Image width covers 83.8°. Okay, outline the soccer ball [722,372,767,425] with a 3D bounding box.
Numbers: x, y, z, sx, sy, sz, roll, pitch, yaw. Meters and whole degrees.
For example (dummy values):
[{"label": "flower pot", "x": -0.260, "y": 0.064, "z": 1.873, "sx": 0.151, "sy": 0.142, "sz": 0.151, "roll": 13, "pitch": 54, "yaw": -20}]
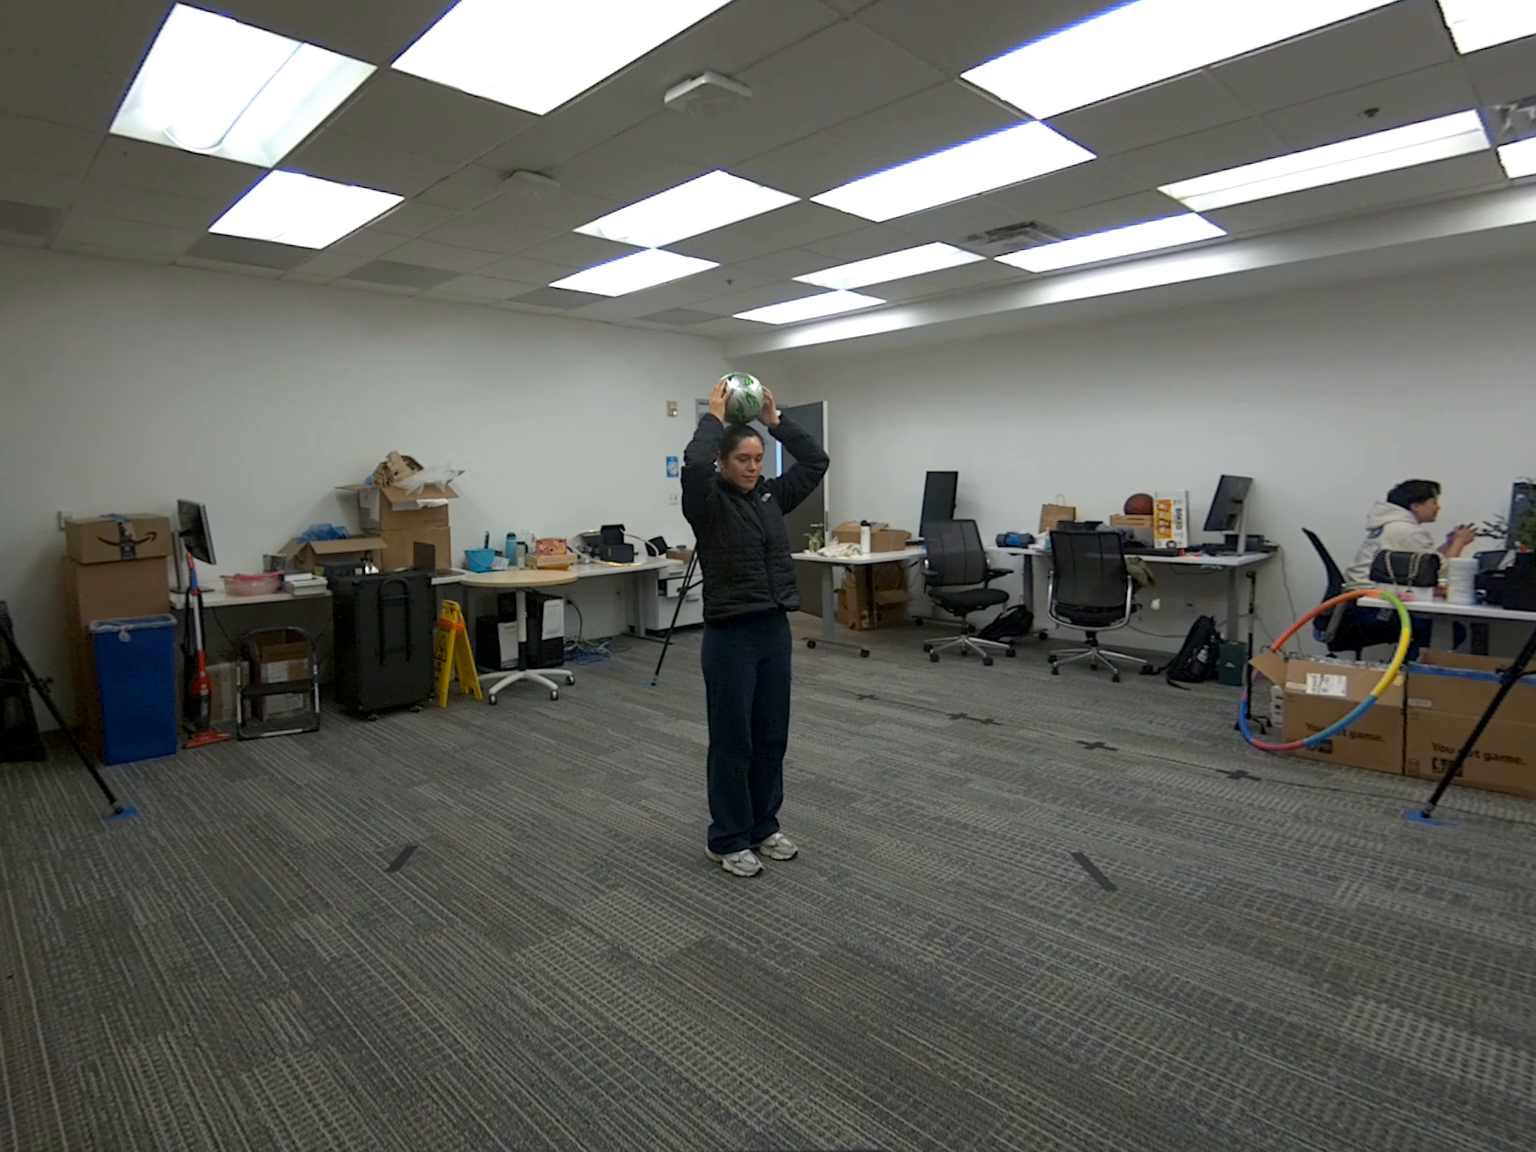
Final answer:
[{"label": "soccer ball", "x": -0.107, "y": -0.640, "z": 3.094, "sx": 0.187, "sy": 0.187, "sz": 0.188, "roll": -1, "pitch": 5, "yaw": -2}]
